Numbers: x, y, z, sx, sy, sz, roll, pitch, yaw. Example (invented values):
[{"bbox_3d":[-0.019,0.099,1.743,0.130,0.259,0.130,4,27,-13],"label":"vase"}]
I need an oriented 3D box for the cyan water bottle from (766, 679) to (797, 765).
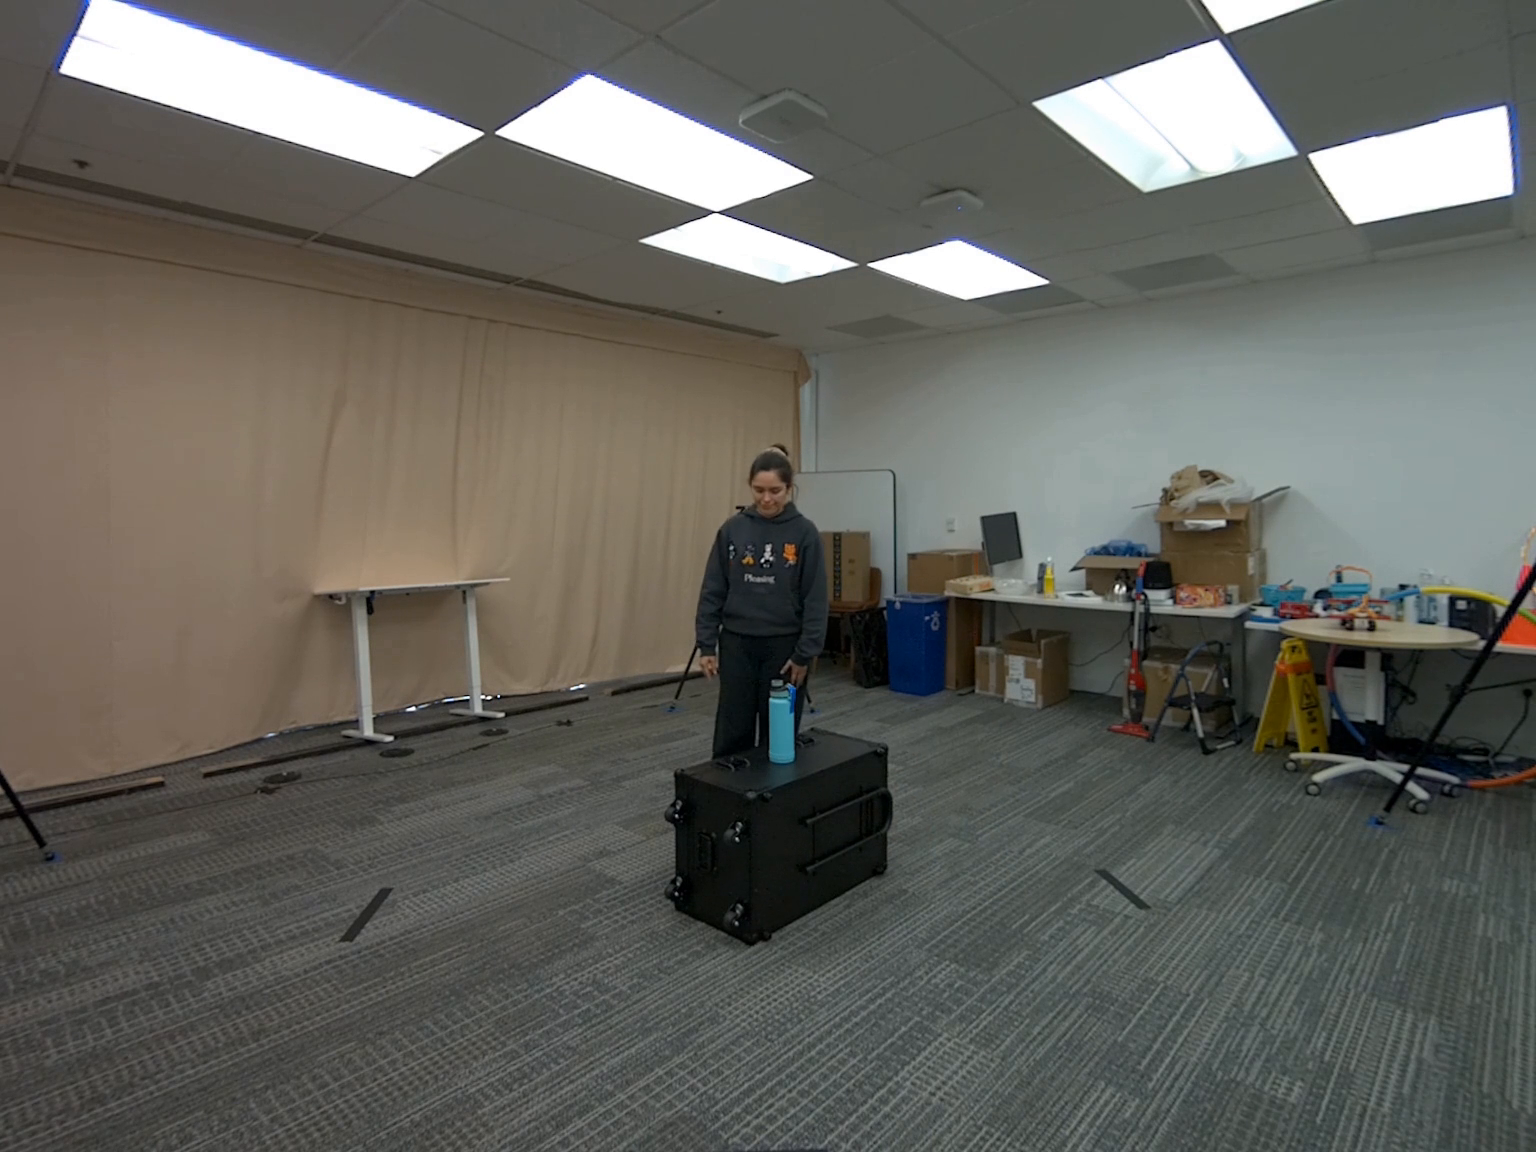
[{"bbox_3d":[0.063,0.513,3.014,0.092,0.283,0.092,2,2,-2],"label":"cyan water bottle"}]
